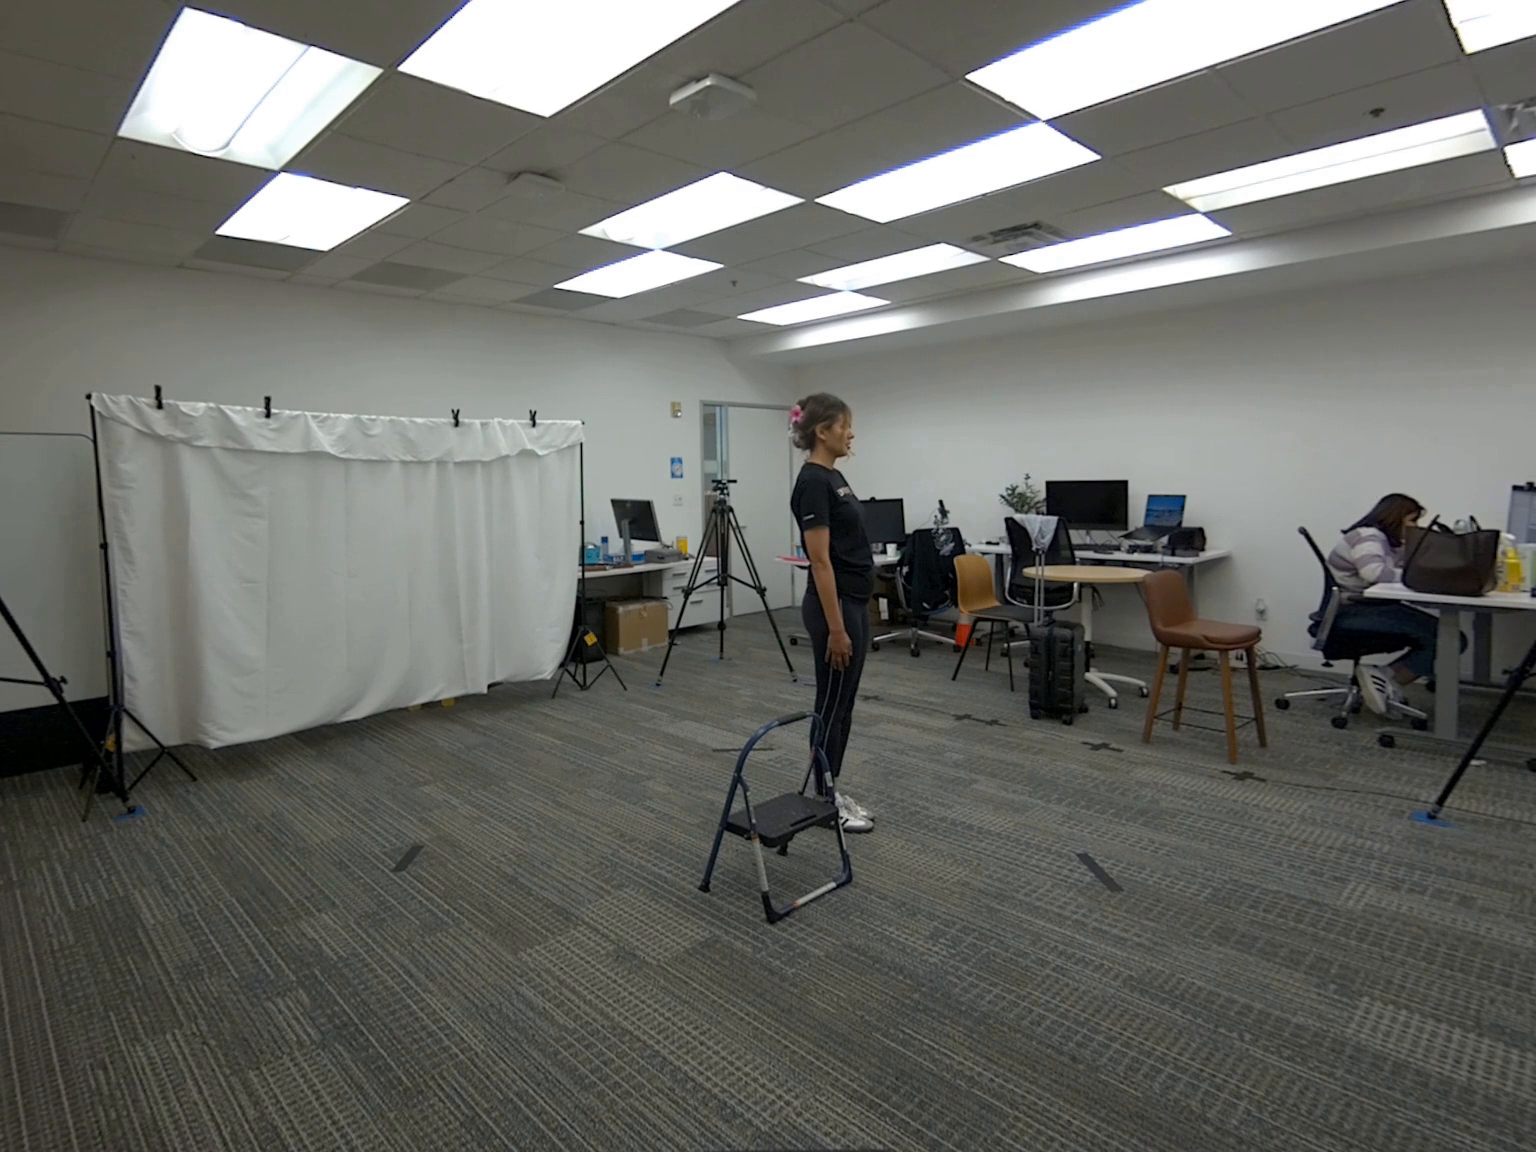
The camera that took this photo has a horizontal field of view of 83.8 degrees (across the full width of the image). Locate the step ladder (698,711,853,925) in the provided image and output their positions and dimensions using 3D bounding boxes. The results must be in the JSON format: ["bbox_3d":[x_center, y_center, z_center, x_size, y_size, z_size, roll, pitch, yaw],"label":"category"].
[{"bbox_3d":[0.026,0.763,2.922,0.360,0.604,0.419,3,6,44],"label":"step ladder"}]
